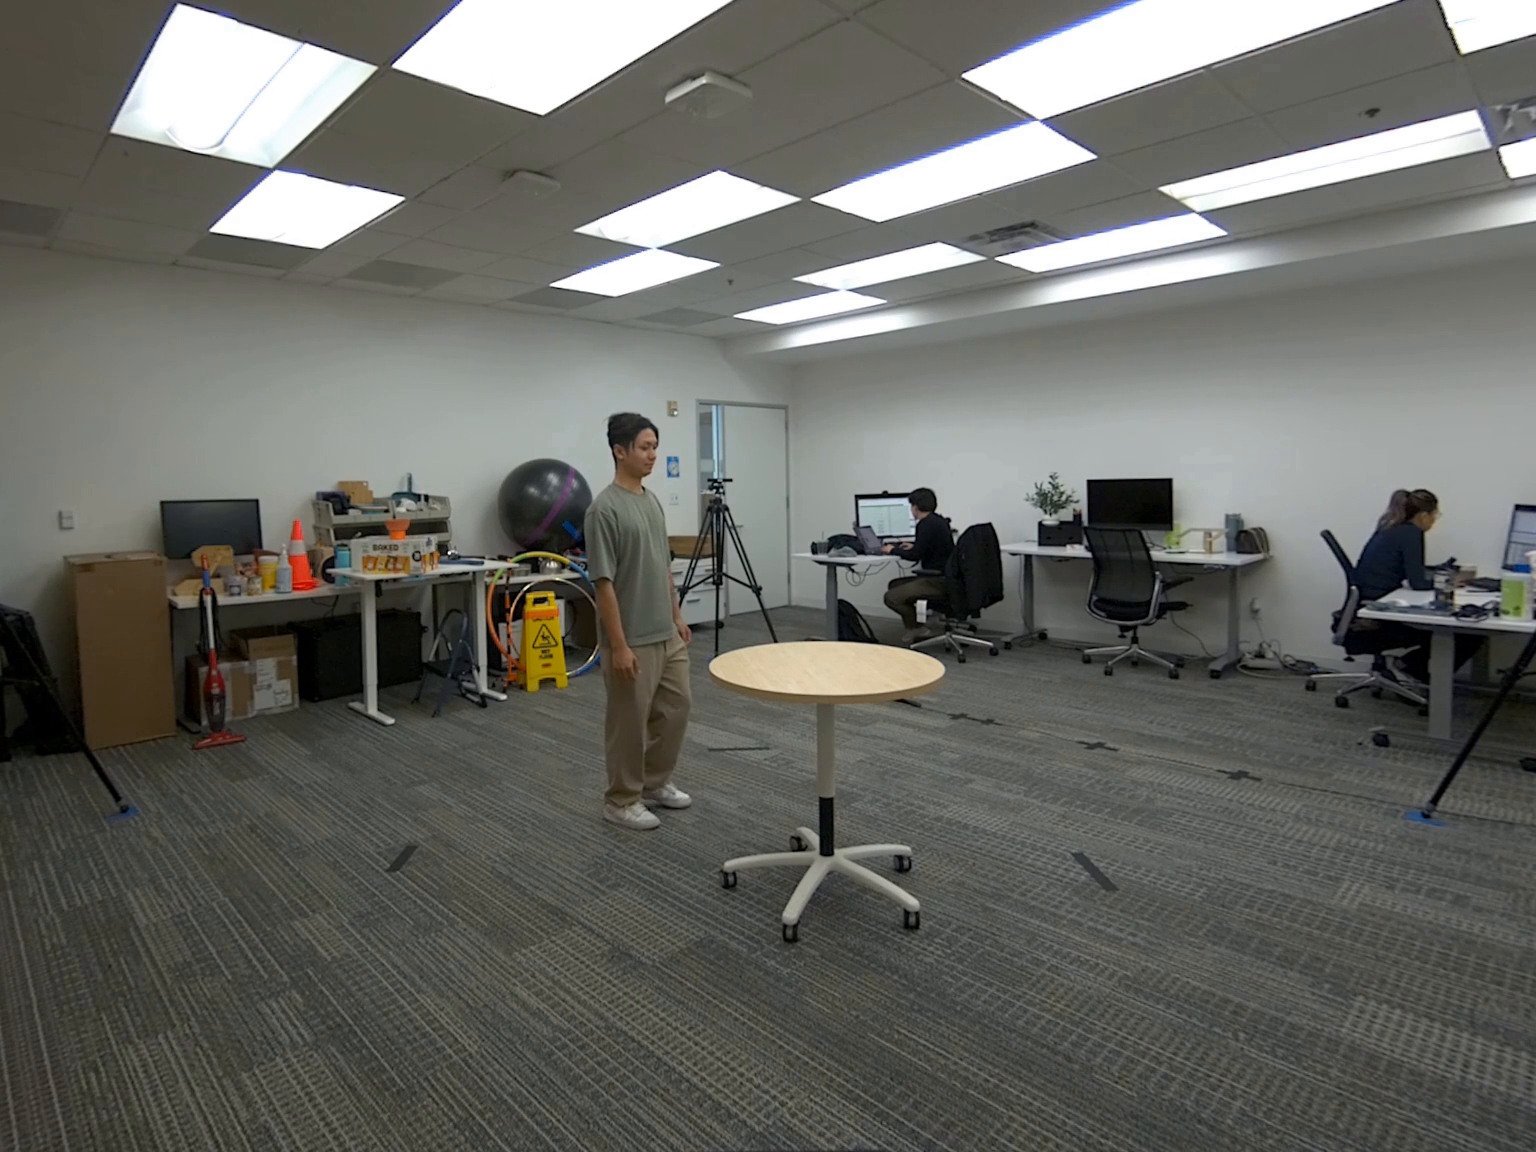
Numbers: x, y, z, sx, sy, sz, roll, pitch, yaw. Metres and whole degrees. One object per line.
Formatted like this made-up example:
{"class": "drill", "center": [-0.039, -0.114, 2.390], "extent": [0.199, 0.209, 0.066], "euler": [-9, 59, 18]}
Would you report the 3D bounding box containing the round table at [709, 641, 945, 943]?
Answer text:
{"class": "round table", "center": [0.186, 0.679, 2.834], "extent": [0.784, 0.783, 0.789], "euler": [-1, 5, -2]}
